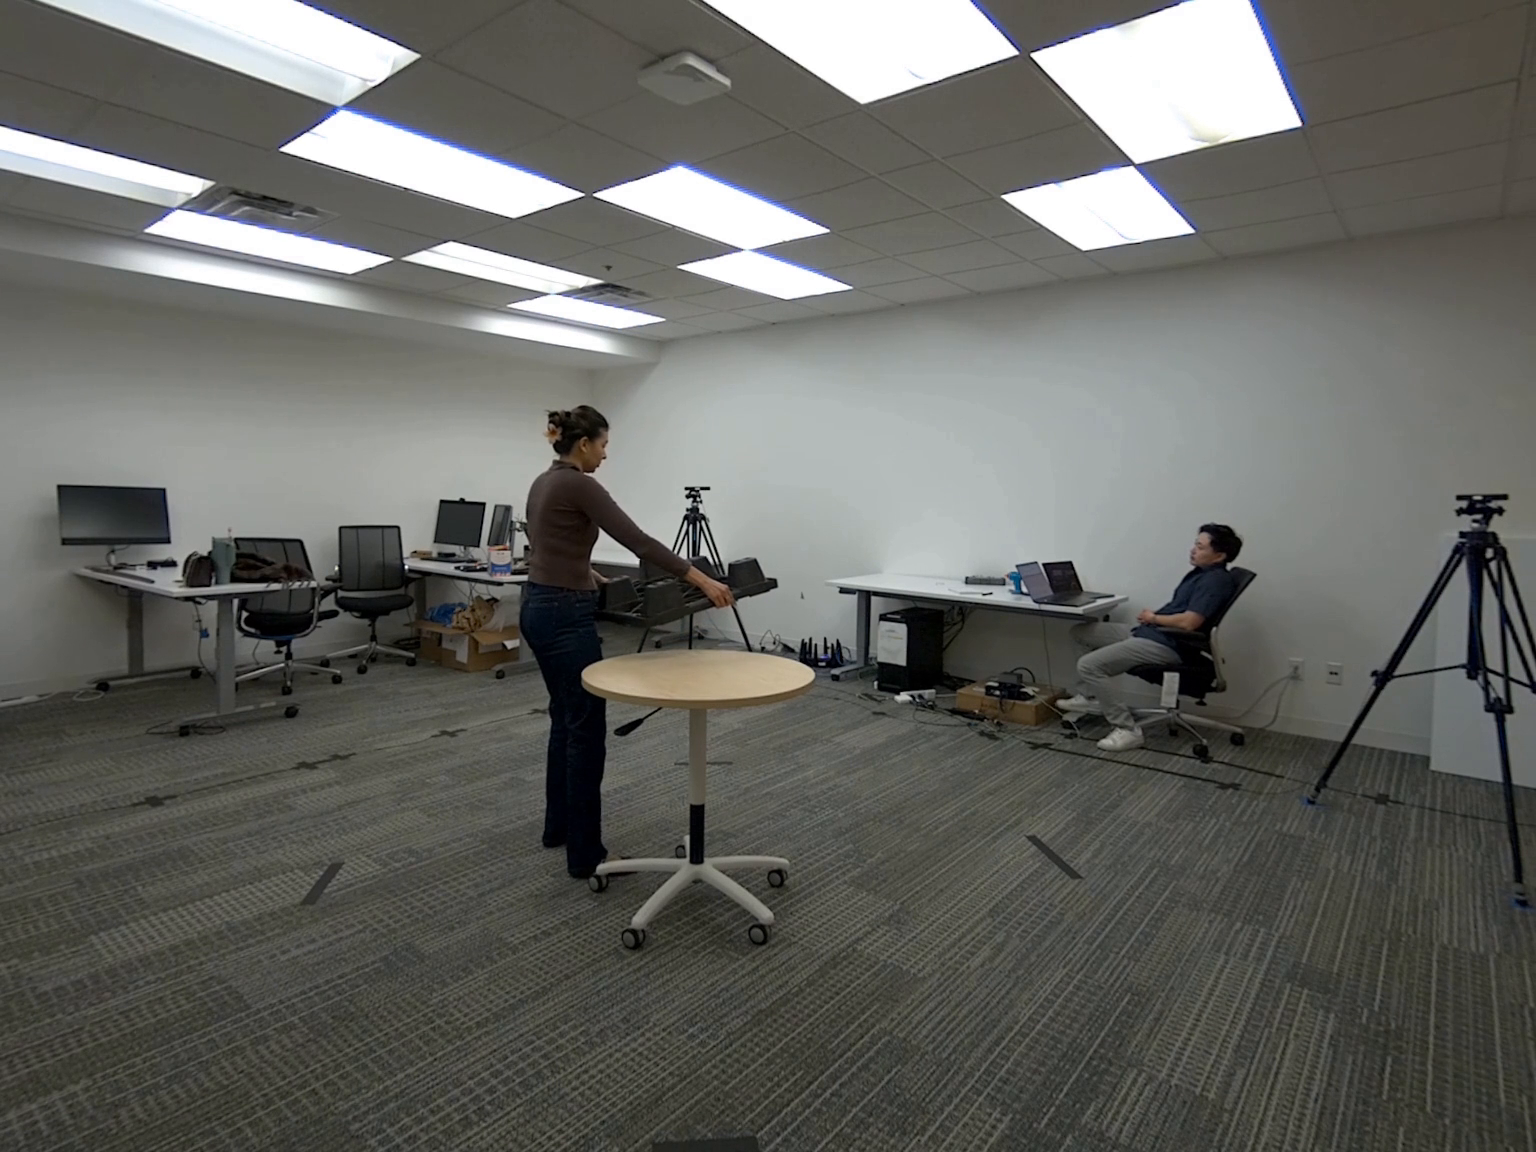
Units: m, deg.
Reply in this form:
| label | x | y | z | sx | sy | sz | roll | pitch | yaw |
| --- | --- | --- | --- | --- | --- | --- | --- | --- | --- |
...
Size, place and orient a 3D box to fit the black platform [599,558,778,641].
| label | x | y | z | sx | sy | sz | roll | pitch | yaw |
| --- | --- | --- | --- | --- | --- | --- | --- | --- | --- |
| black platform | -0.450 | 0.038 | 3.413 | 0.592 | 0.142 | 0.830 | -17 | 12 | -35 |
